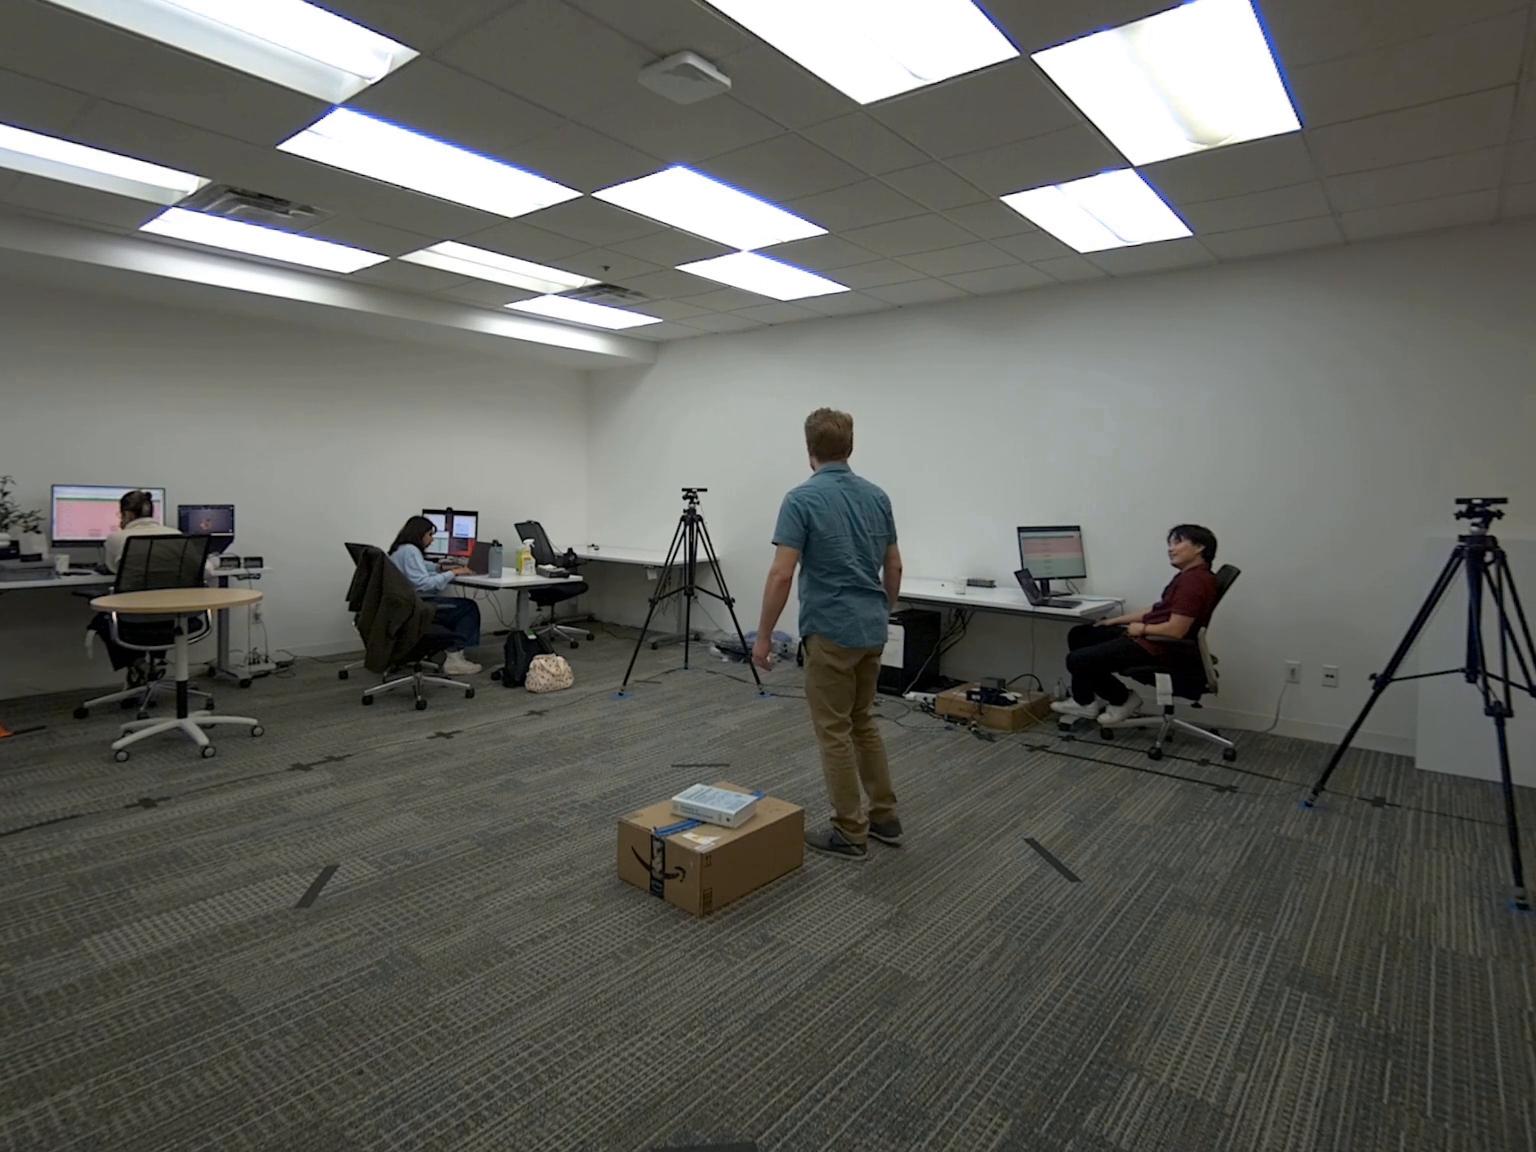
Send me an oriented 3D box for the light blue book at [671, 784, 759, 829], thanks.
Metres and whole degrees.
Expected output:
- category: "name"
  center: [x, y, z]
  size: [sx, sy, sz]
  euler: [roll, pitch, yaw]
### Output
- category: "light blue book"
  center: [-0.205, 0.829, 3.099]
  size: [0.268, 0.059, 0.187]
  euler: [4, 6, 27]
